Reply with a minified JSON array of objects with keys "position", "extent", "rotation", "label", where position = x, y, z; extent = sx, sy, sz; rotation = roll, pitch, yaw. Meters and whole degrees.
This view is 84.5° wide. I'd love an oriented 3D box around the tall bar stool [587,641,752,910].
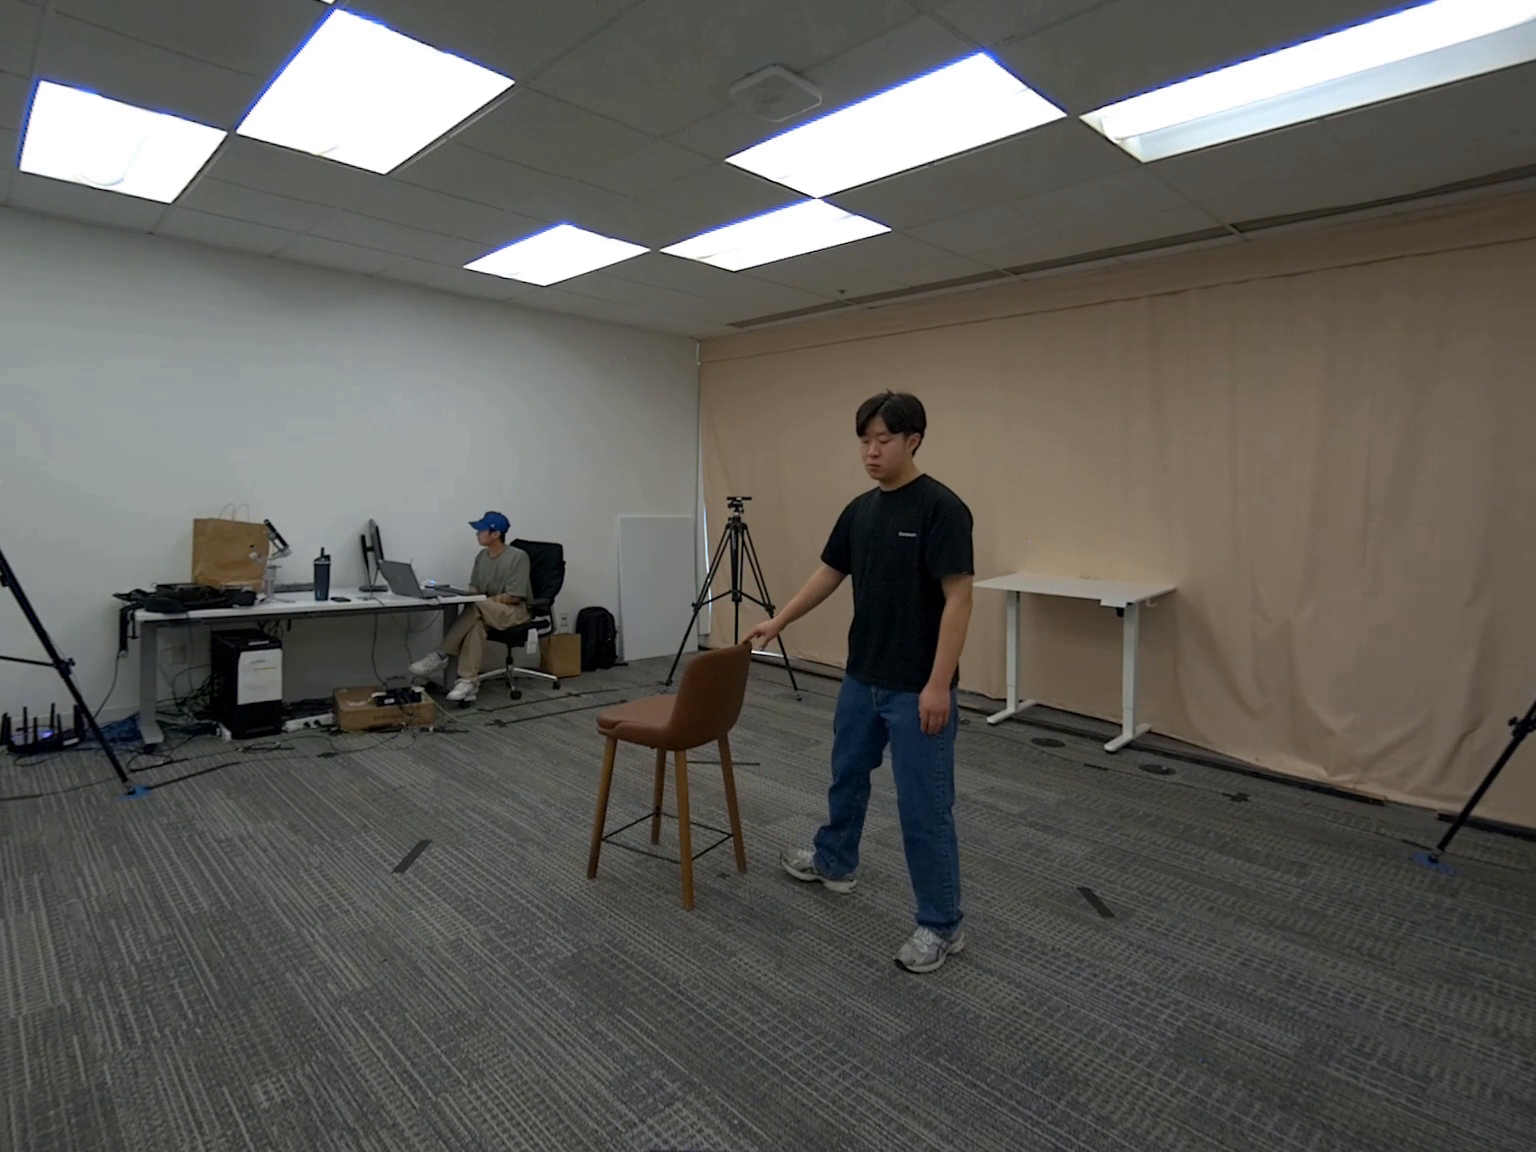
[{"position":[-0.346,0.666,3.079],"extent":[0.479,0.887,0.447],"rotation":[6,6,32],"label":"tall bar stool"}]
